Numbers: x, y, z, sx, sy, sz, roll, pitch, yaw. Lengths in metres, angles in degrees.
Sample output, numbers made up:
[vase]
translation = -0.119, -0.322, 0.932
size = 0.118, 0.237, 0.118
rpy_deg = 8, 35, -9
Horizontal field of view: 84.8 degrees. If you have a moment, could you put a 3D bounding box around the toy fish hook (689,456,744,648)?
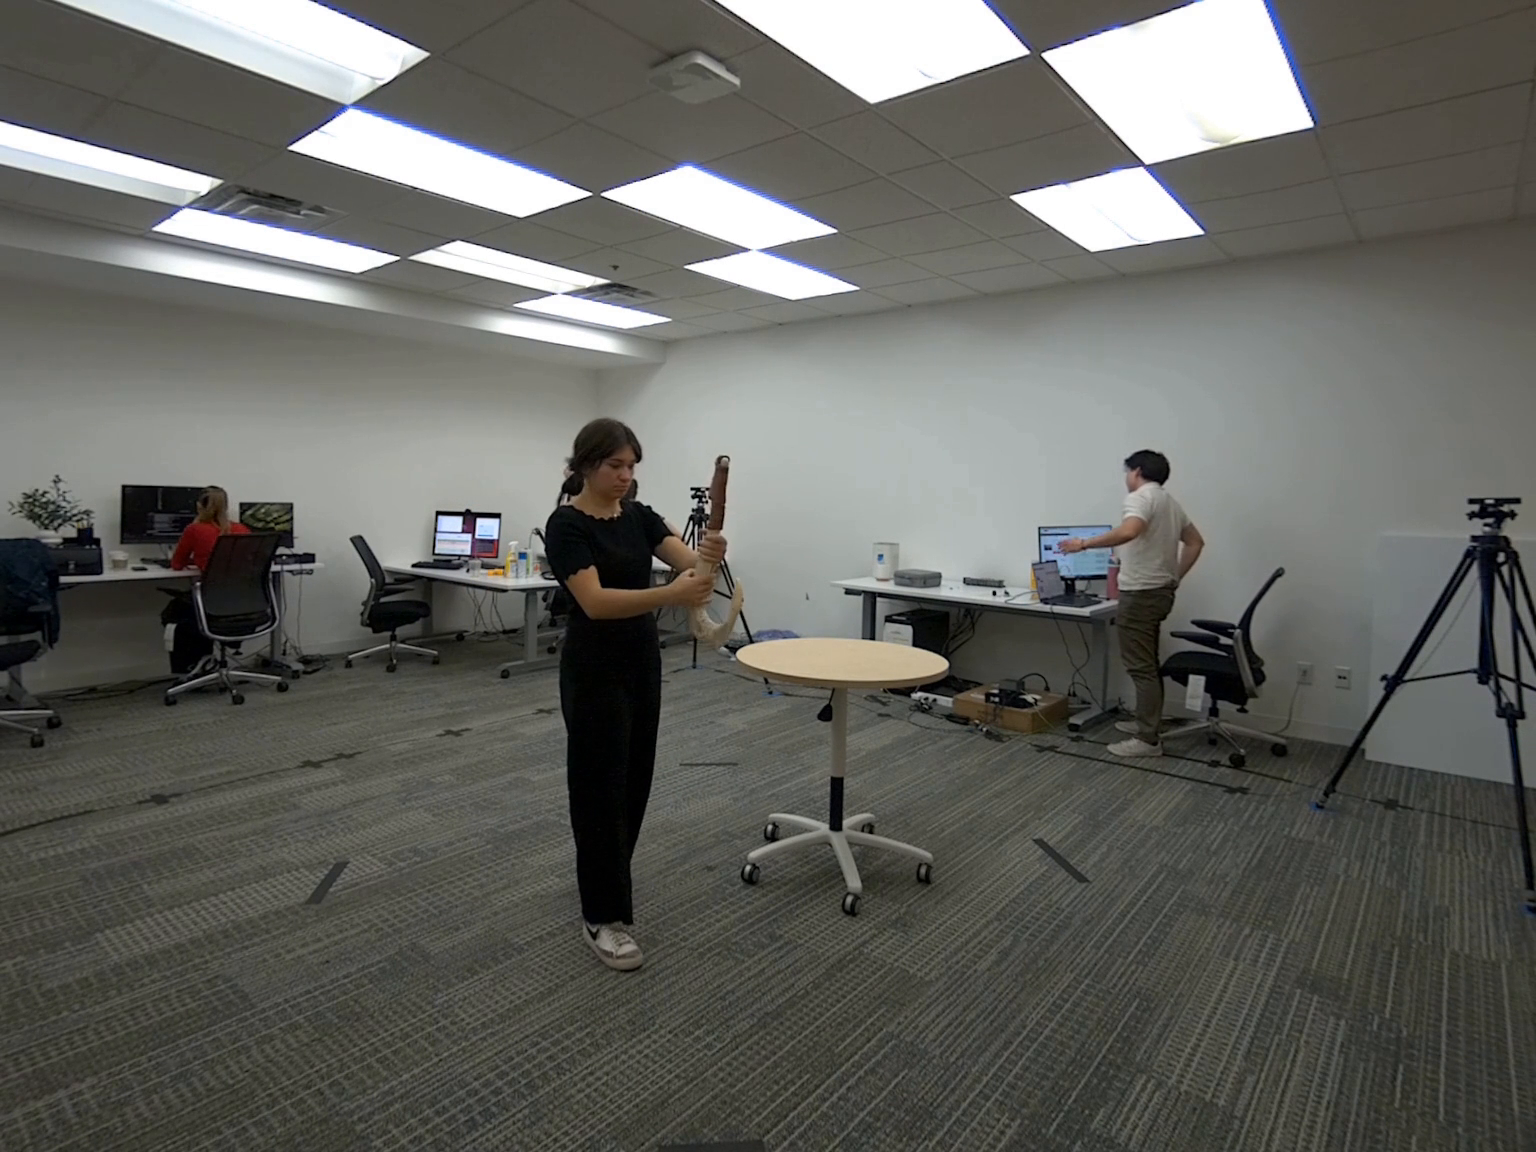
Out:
[toy fish hook]
translation = -0.123, -0.061, 2.239
size = 0.233, 0.505, 0.047
rpy_deg = 11, 6, 41
